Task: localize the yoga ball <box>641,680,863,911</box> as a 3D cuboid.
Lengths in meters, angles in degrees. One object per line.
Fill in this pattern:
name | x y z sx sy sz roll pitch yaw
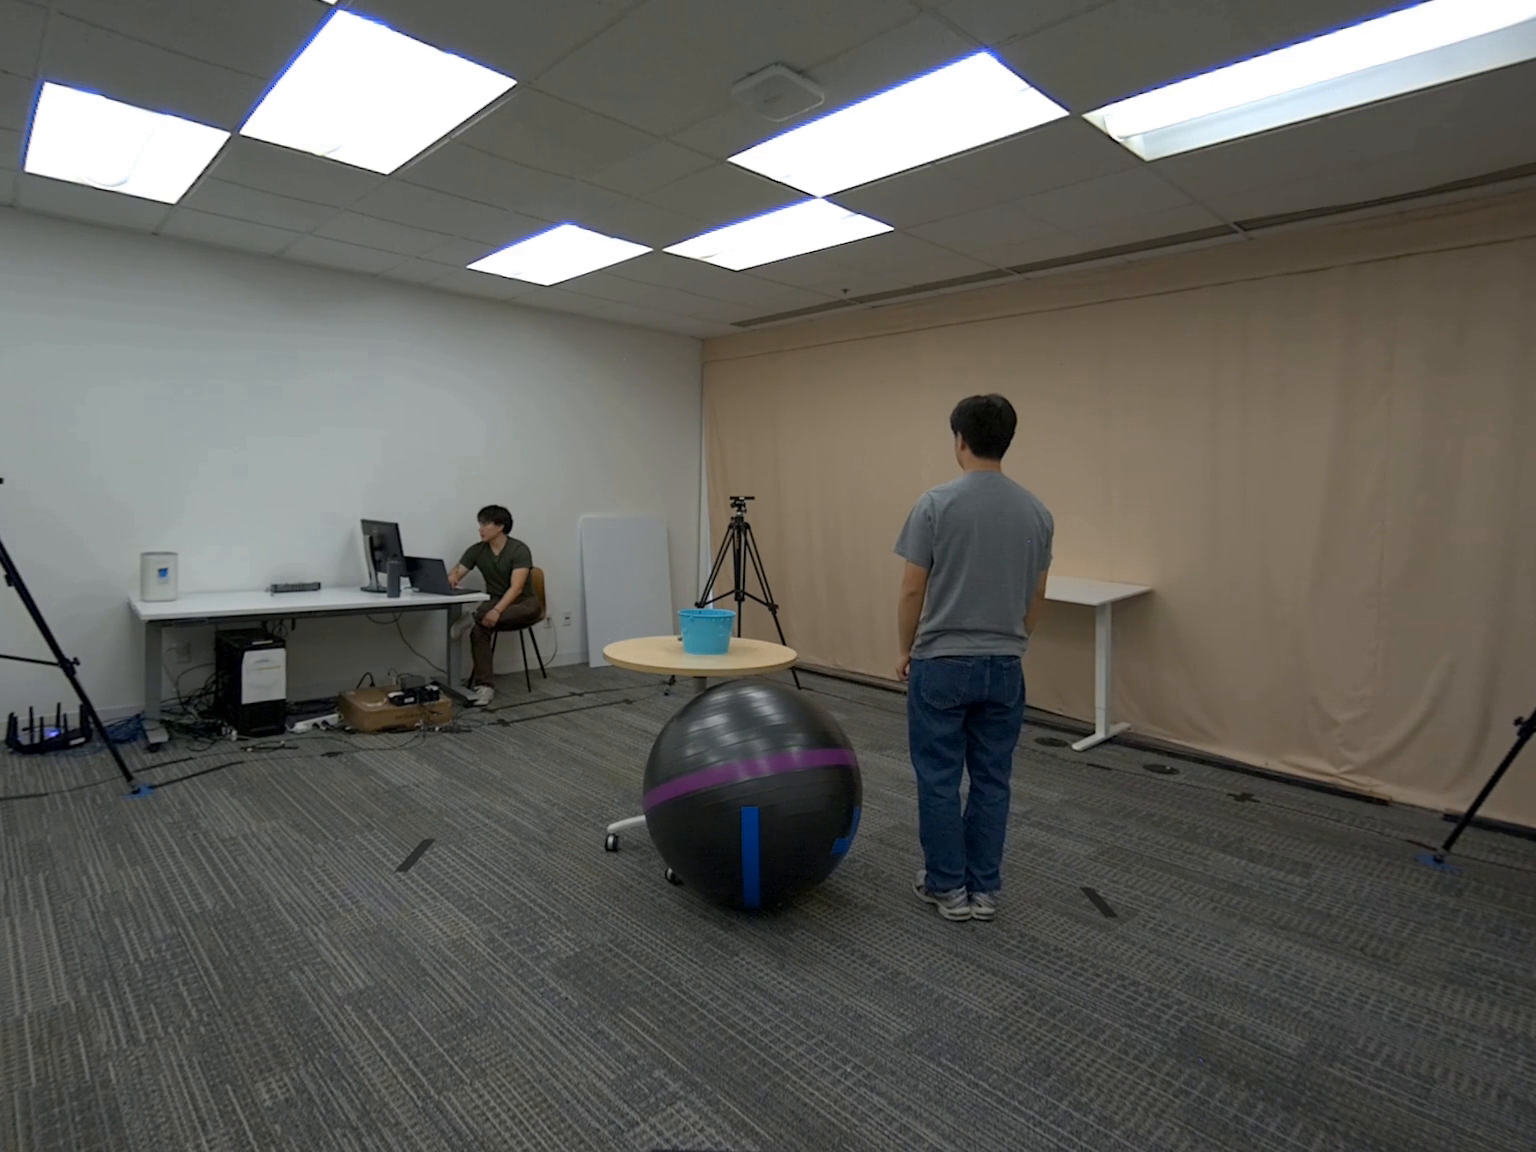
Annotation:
yoga ball | -0.057 0.754 2.924 0.757 0.756 0.761 1 4 -1
